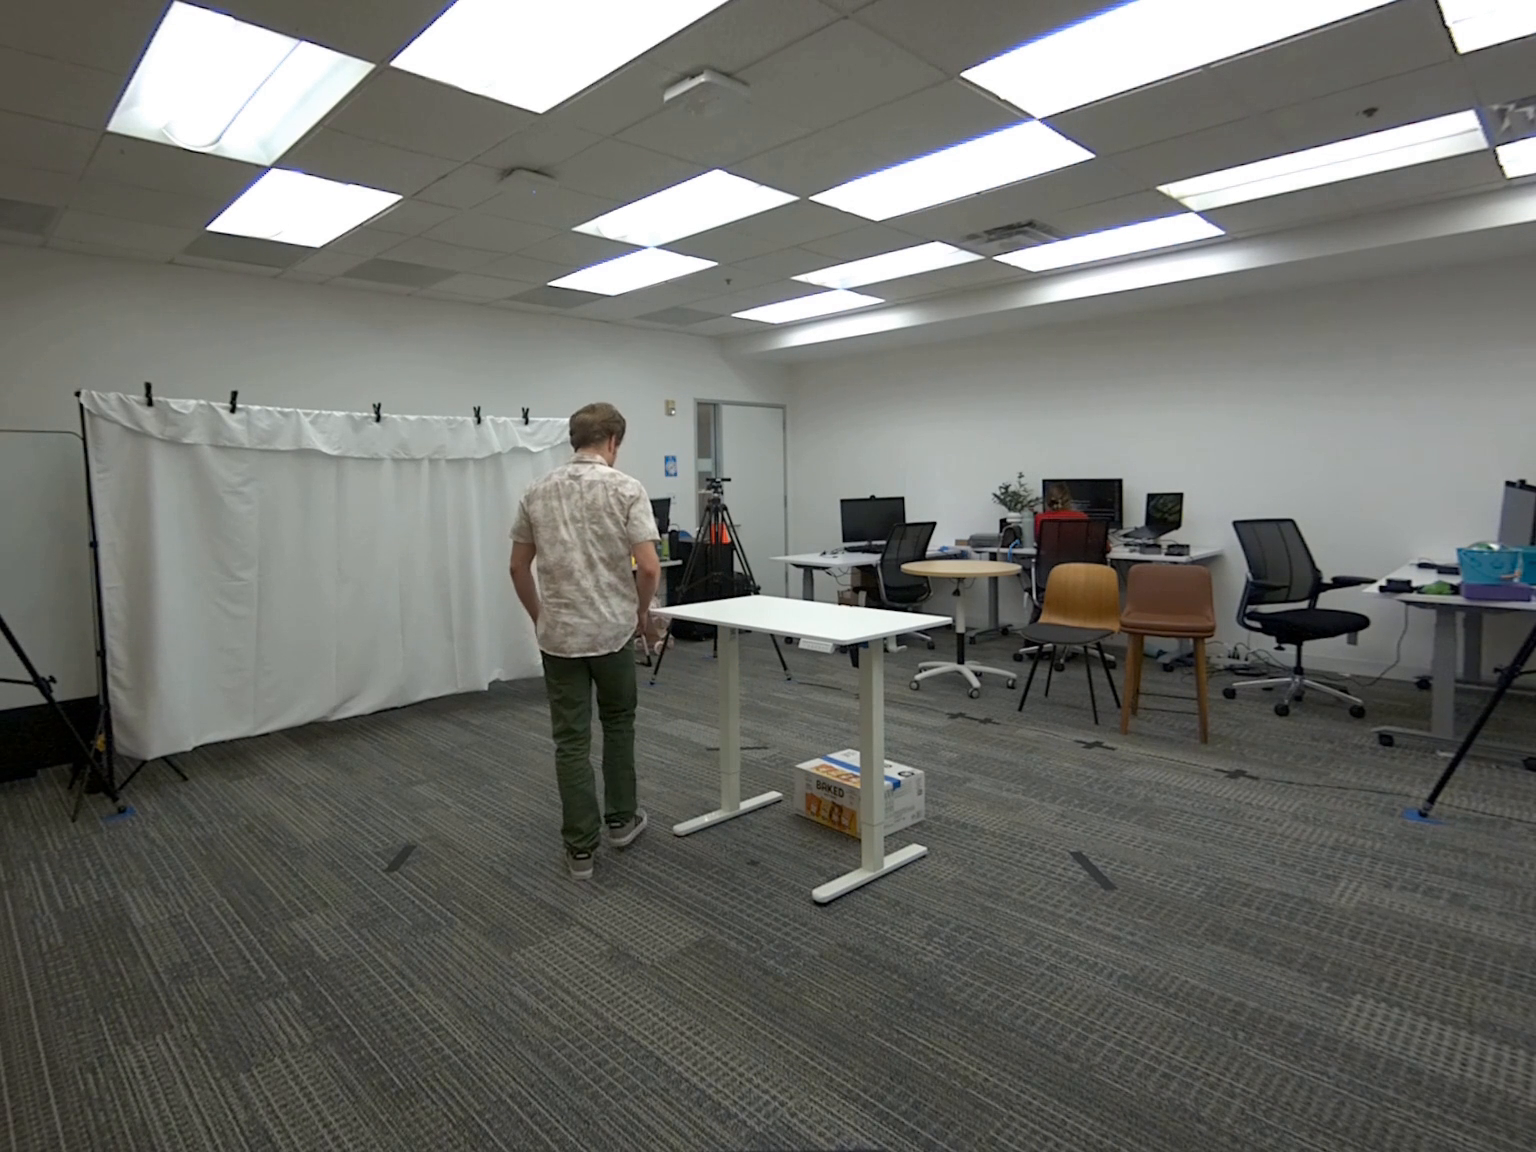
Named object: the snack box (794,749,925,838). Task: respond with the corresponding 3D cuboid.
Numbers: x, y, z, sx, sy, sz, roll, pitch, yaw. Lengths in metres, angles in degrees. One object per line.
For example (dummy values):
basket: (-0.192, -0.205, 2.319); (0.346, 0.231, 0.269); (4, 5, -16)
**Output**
snack box: (0.376, 0.891, 3.501); (0.331, 0.205, 0.418); (-6, 8, -41)
